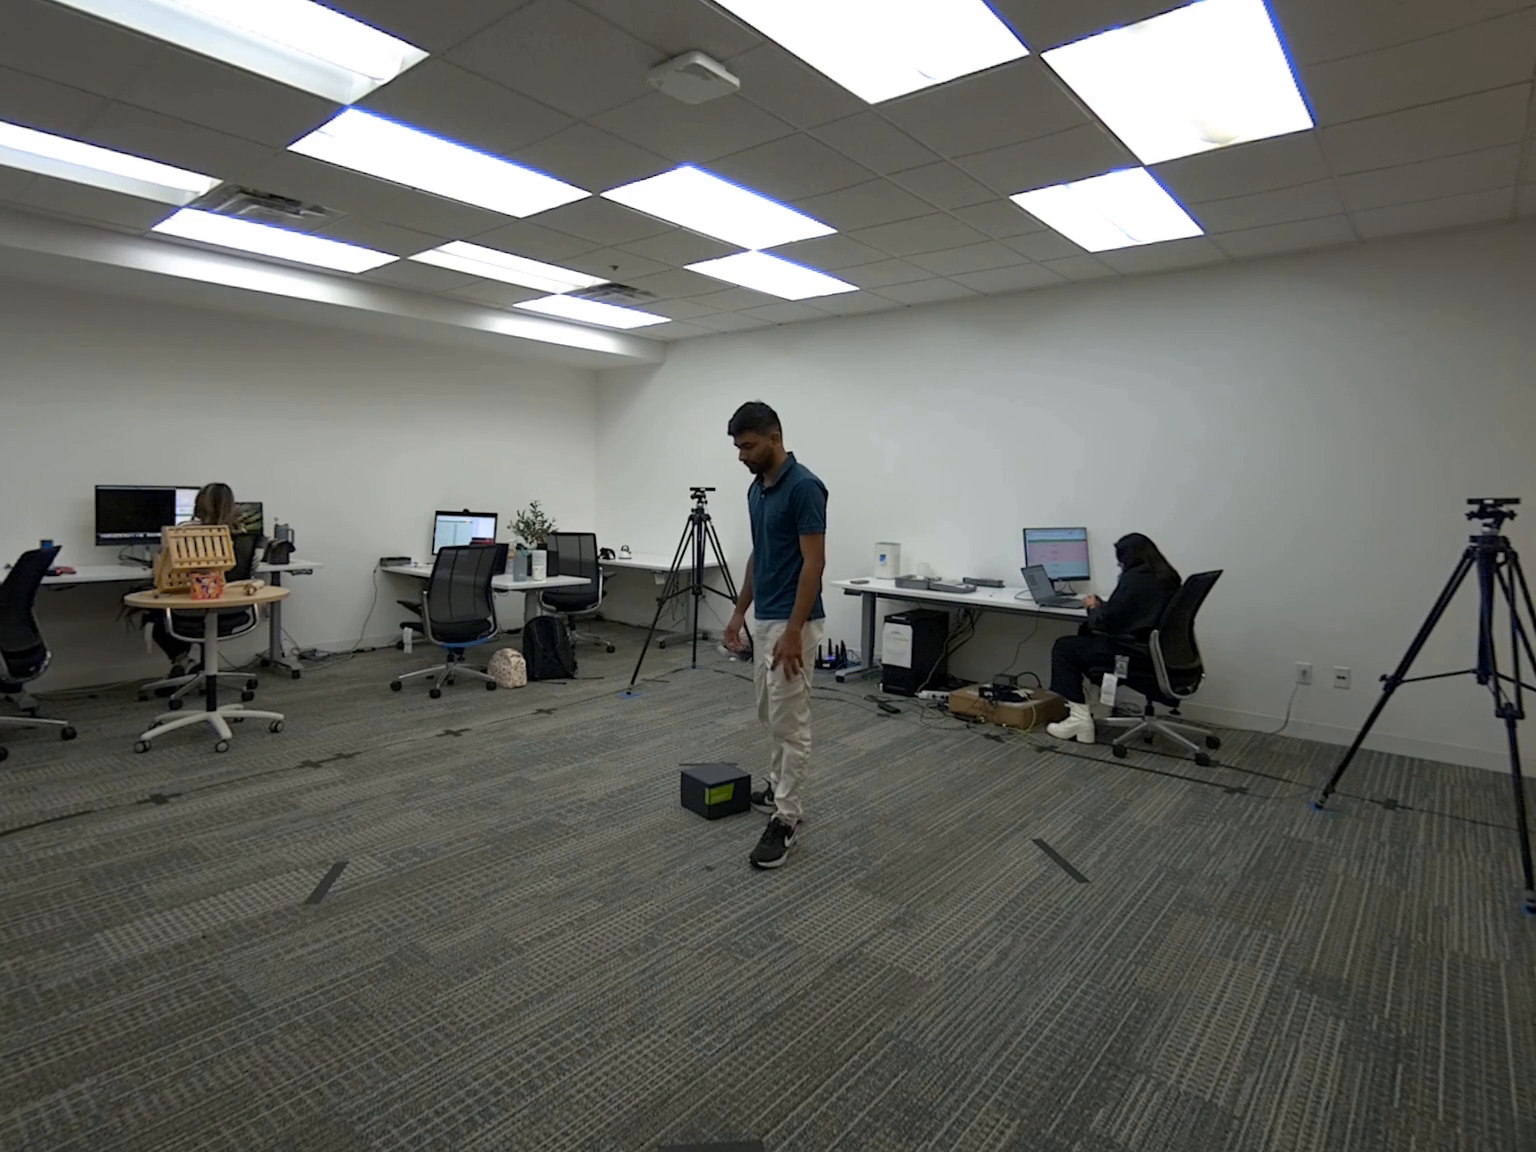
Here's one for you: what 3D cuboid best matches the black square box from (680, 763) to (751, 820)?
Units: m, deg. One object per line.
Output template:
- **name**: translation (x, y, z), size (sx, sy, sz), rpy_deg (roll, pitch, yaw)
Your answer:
- **black square box**: translation (-0.237, 0.925, 3.701), size (0.221, 0.155, 0.224), rpy_deg (-2, 6, -39)
